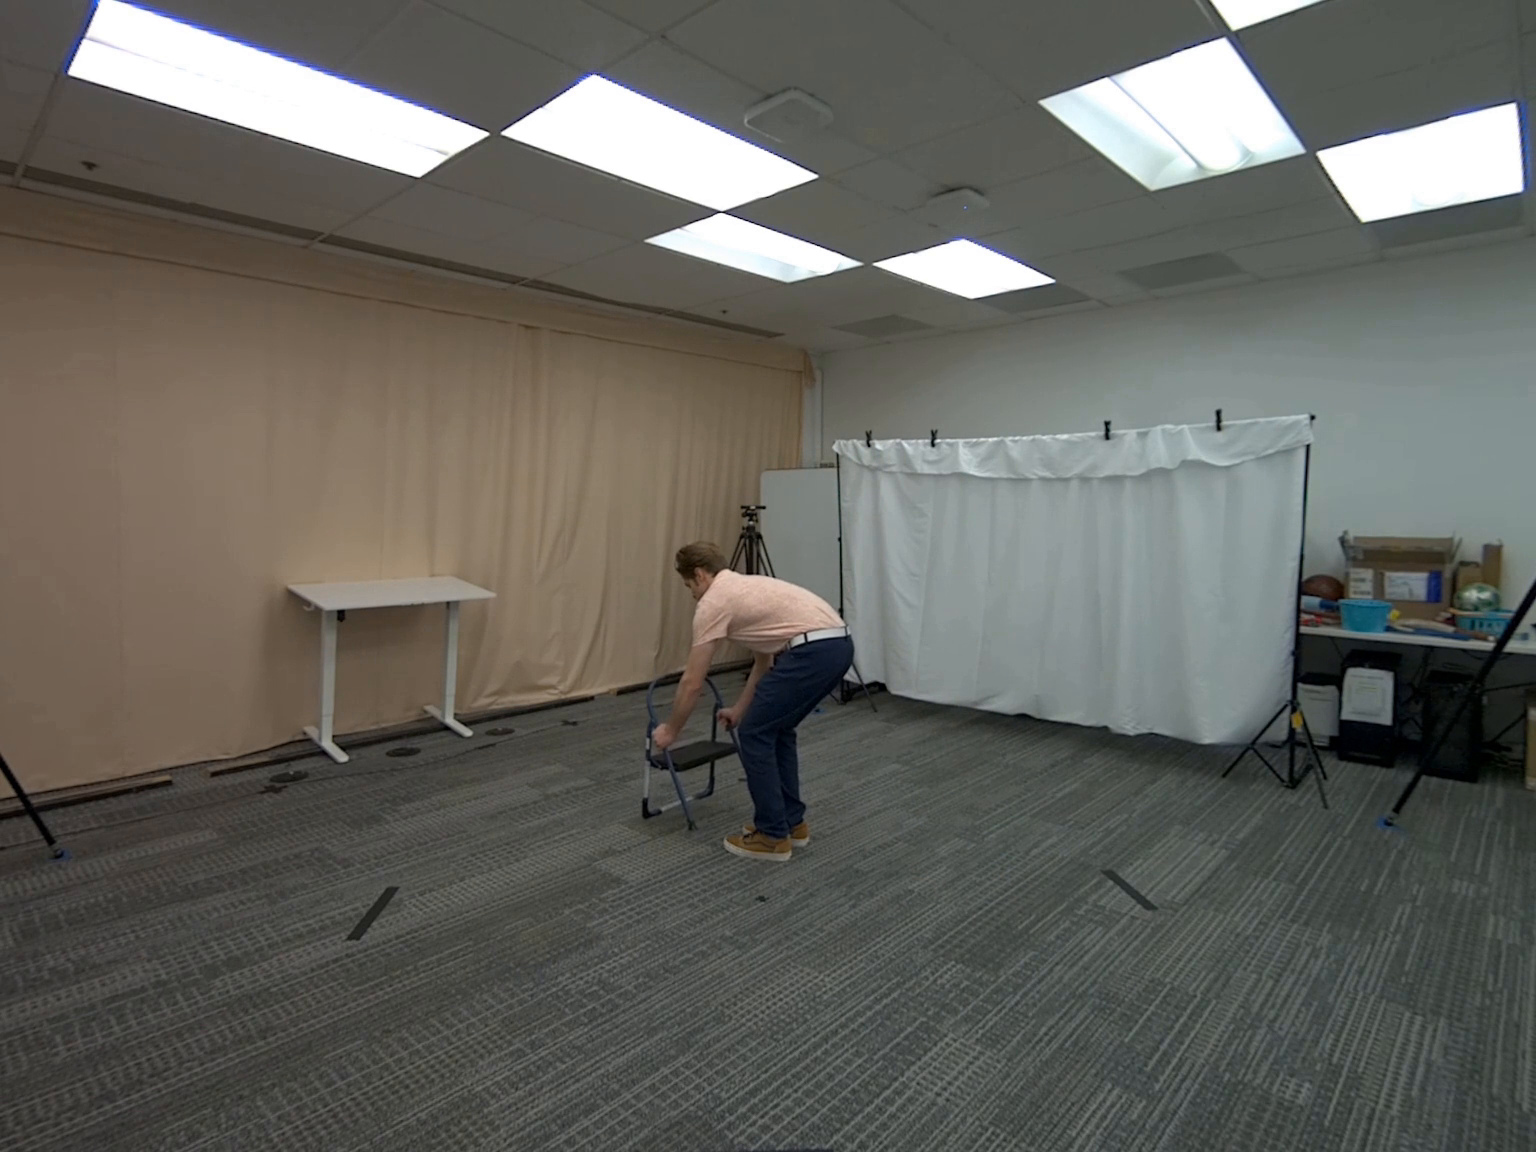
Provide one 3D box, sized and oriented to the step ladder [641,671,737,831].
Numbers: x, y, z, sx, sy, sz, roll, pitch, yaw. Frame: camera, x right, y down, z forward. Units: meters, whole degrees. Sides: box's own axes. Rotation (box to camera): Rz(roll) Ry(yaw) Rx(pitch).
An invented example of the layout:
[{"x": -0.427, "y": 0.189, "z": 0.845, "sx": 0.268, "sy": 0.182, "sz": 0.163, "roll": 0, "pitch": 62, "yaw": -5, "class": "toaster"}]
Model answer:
[{"x": -0.323, "y": 0.726, "z": 3.694, "sx": 0.359, "sy": 0.606, "sz": 0.418, "roll": -7, "pitch": -1, "yaw": 44, "class": "step ladder"}]
